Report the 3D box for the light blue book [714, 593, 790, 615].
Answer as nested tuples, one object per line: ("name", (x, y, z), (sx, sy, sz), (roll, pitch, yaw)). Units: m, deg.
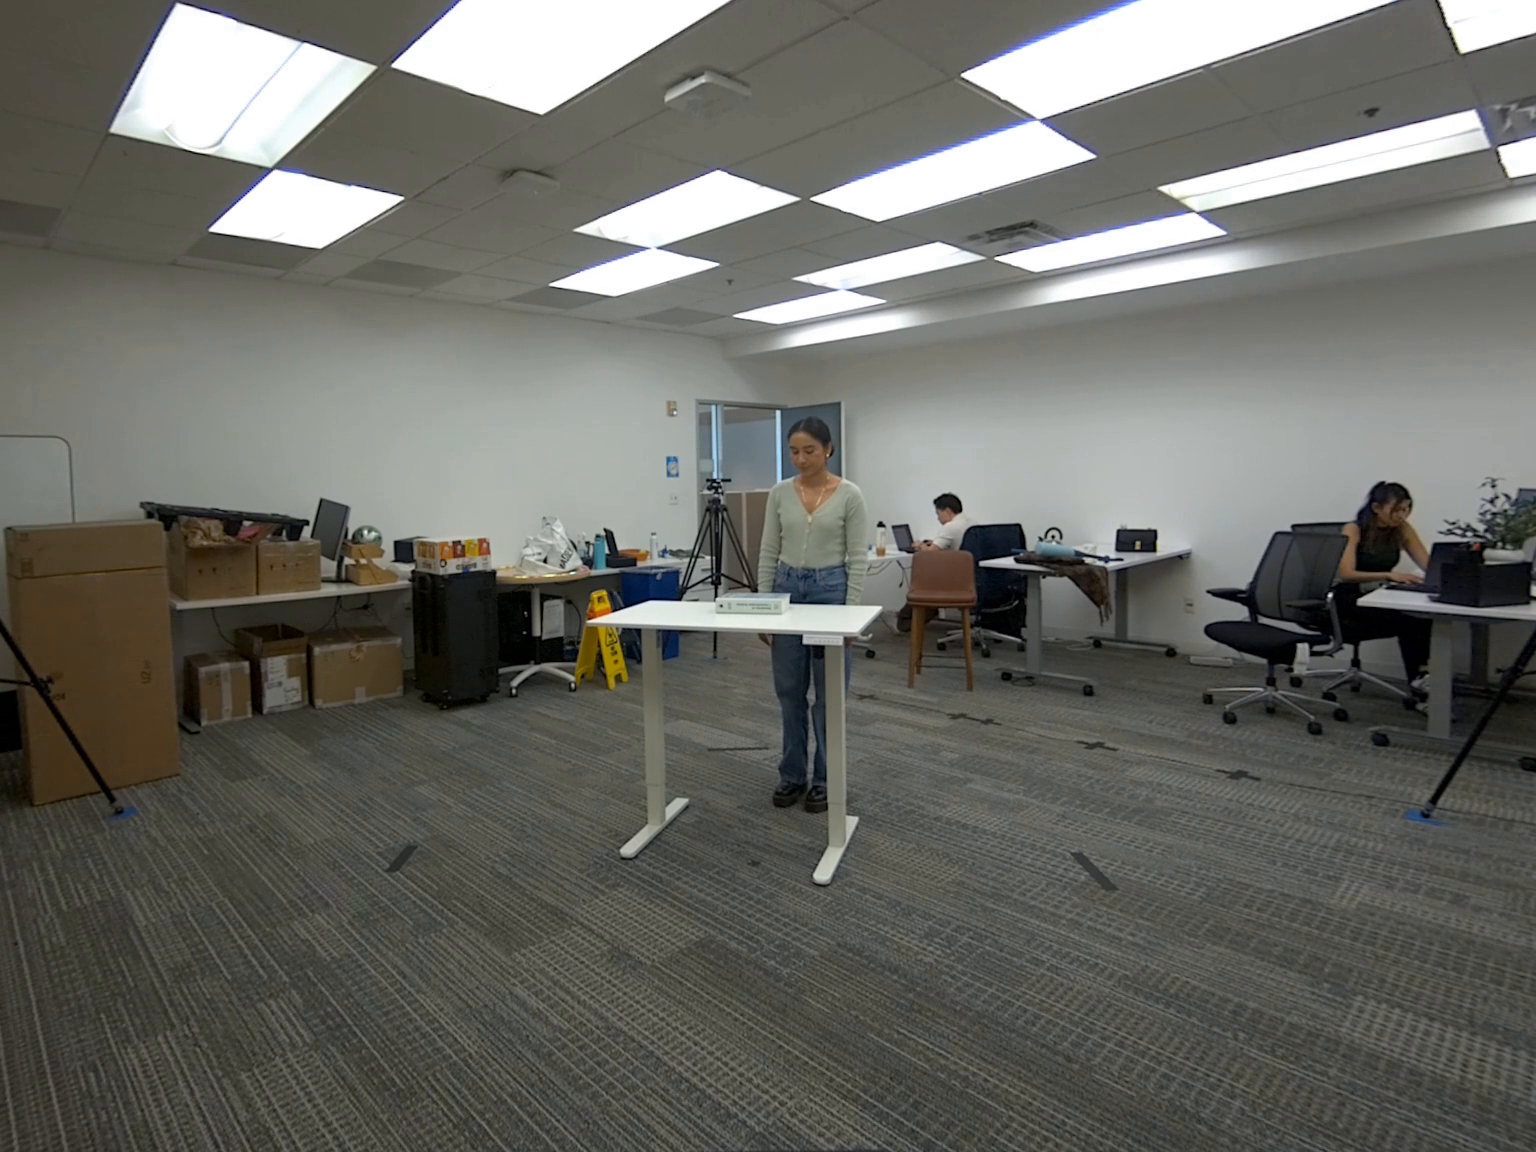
("light blue book", (-0.053, 0.109, 3.348), (0.265, 0.059, 0.189), (0, 5, 14))
